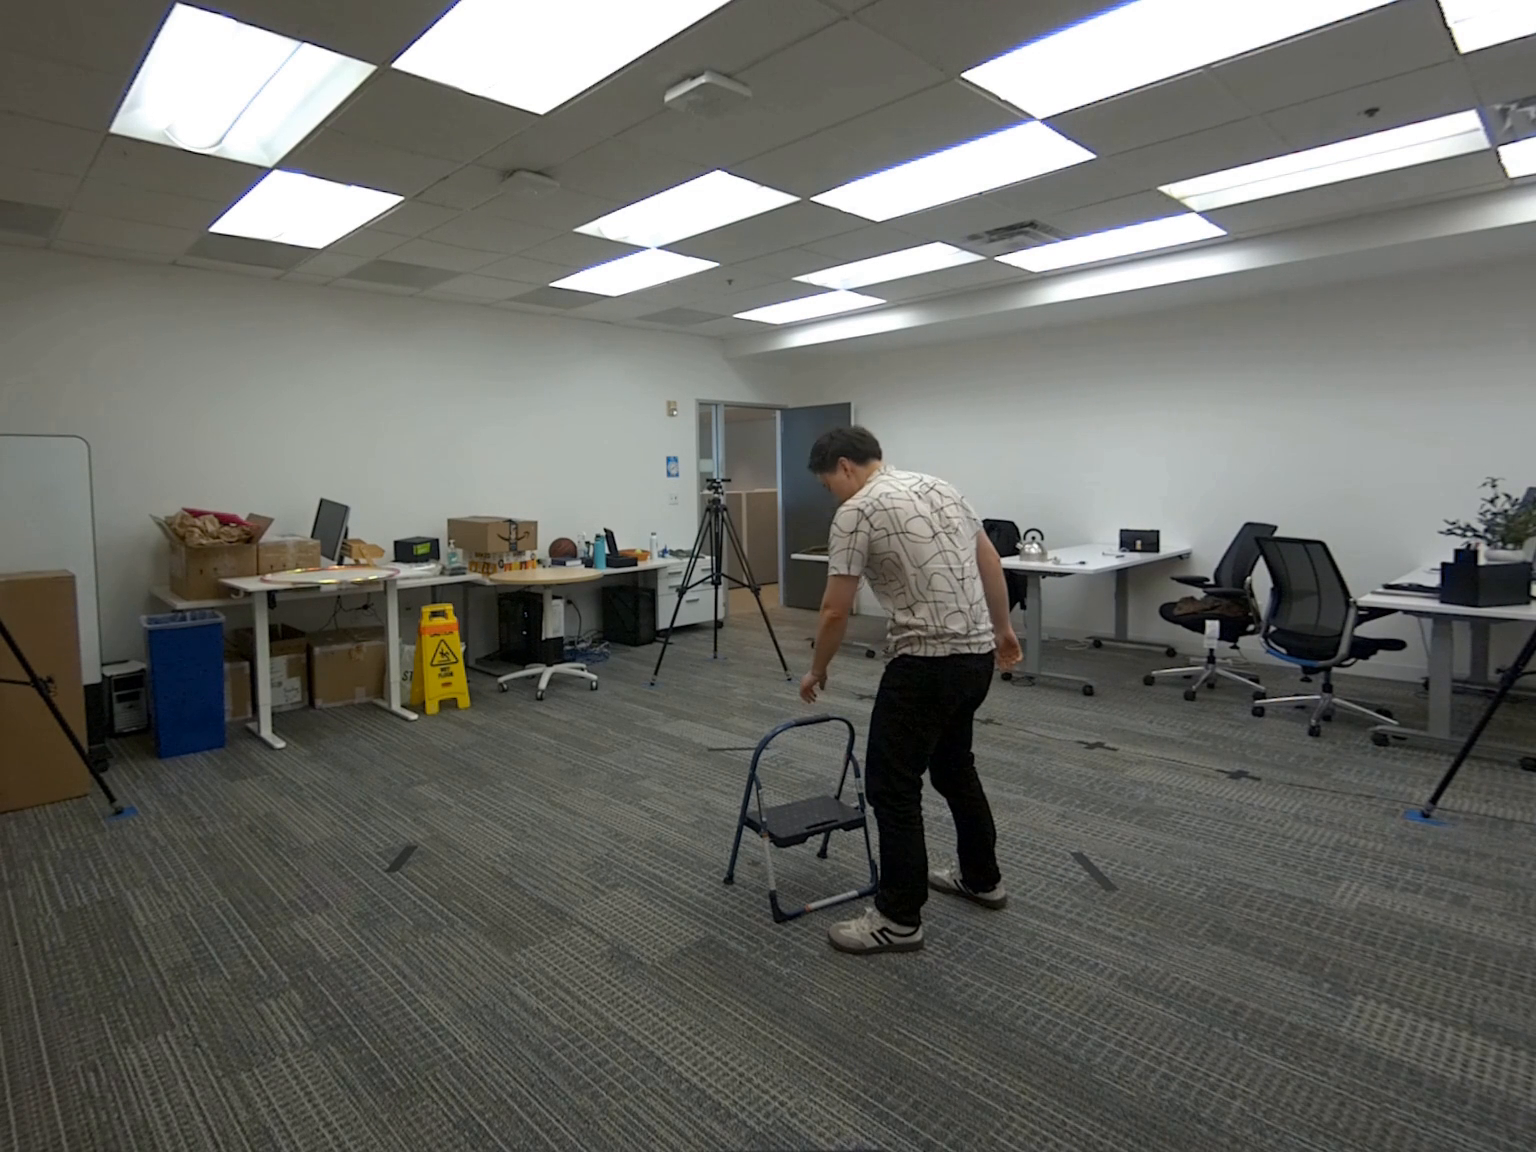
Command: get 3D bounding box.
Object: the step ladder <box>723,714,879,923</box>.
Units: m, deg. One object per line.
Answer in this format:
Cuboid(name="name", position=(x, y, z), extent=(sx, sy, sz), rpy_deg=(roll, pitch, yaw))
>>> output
Cuboid(name="step ladder", position=(0.110, 0.762, 2.904), extent=(0.420, 0.603, 0.359), rpy_deg=(-4, 6, -30))
